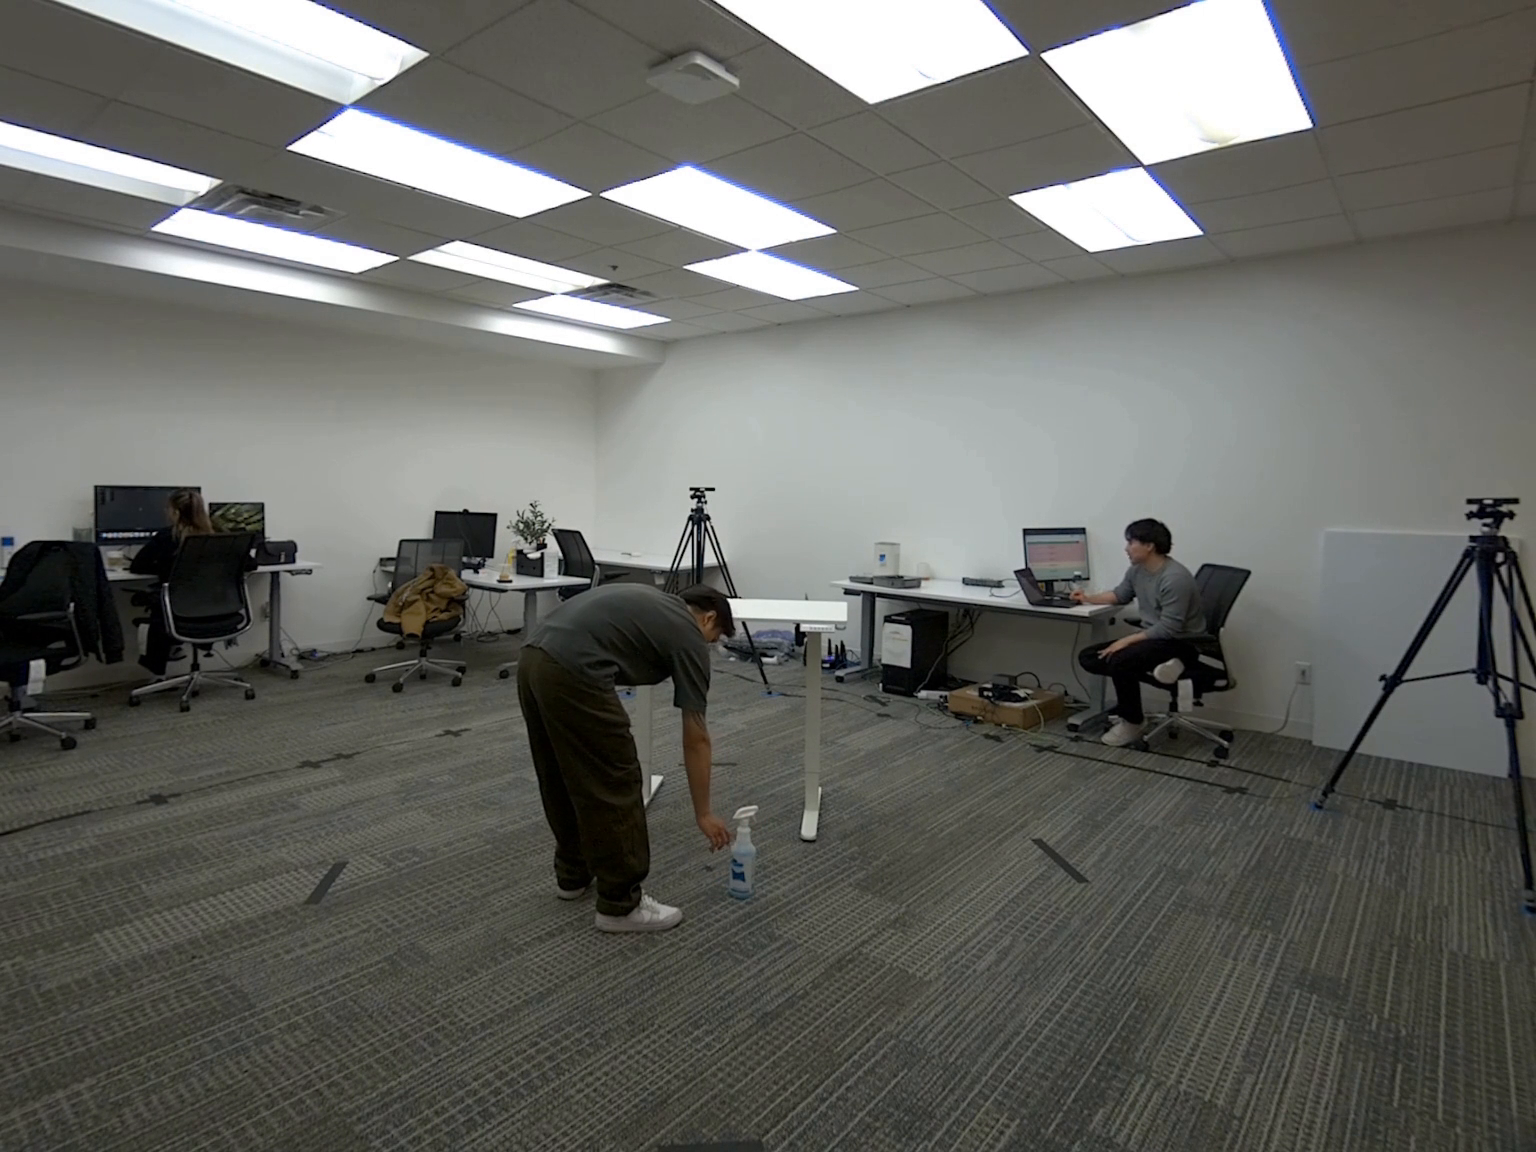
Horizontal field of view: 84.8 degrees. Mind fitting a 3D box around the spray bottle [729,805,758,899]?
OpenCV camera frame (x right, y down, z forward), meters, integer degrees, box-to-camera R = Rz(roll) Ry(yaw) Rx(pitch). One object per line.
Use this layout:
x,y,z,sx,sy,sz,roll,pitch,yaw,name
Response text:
-0.093,0.946,2.913,0.090,0.297,0.087,3,1,-3,spray bottle
